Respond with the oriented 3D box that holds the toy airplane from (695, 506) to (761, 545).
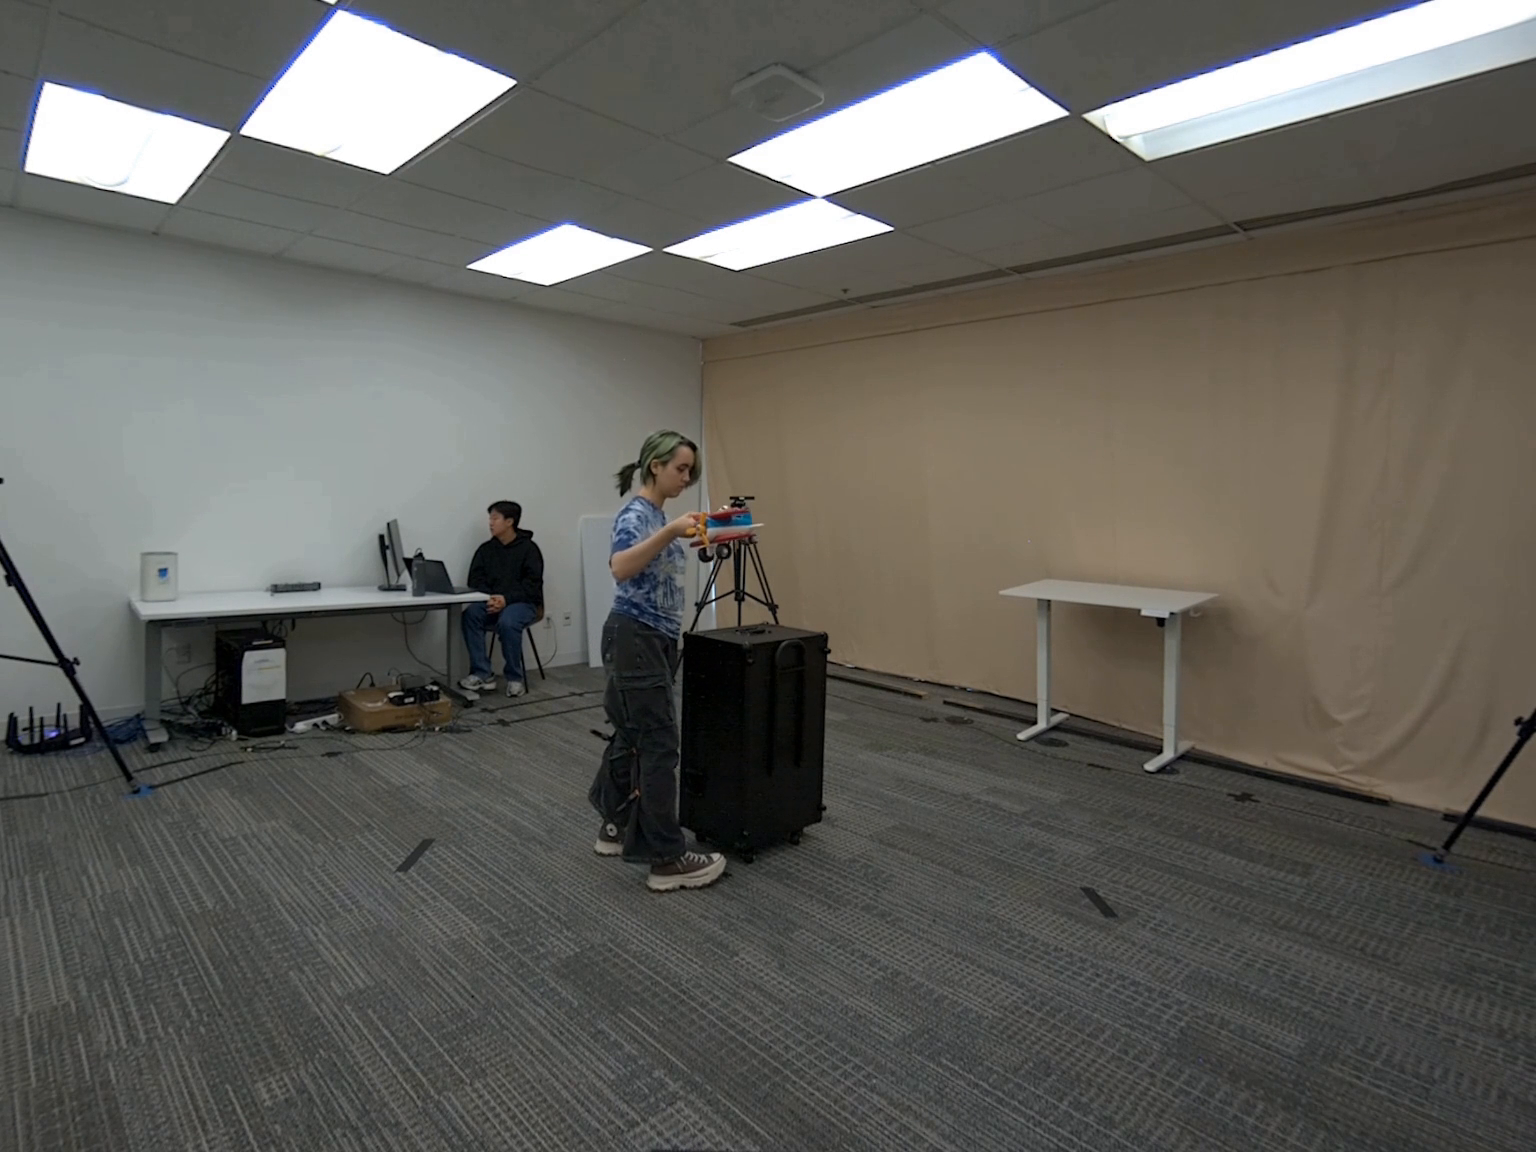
[{"bbox_3d":[-0.164,-0.150,2.826,0.253,0.155,0.259,-16,10,18],"label":"toy airplane"}]
